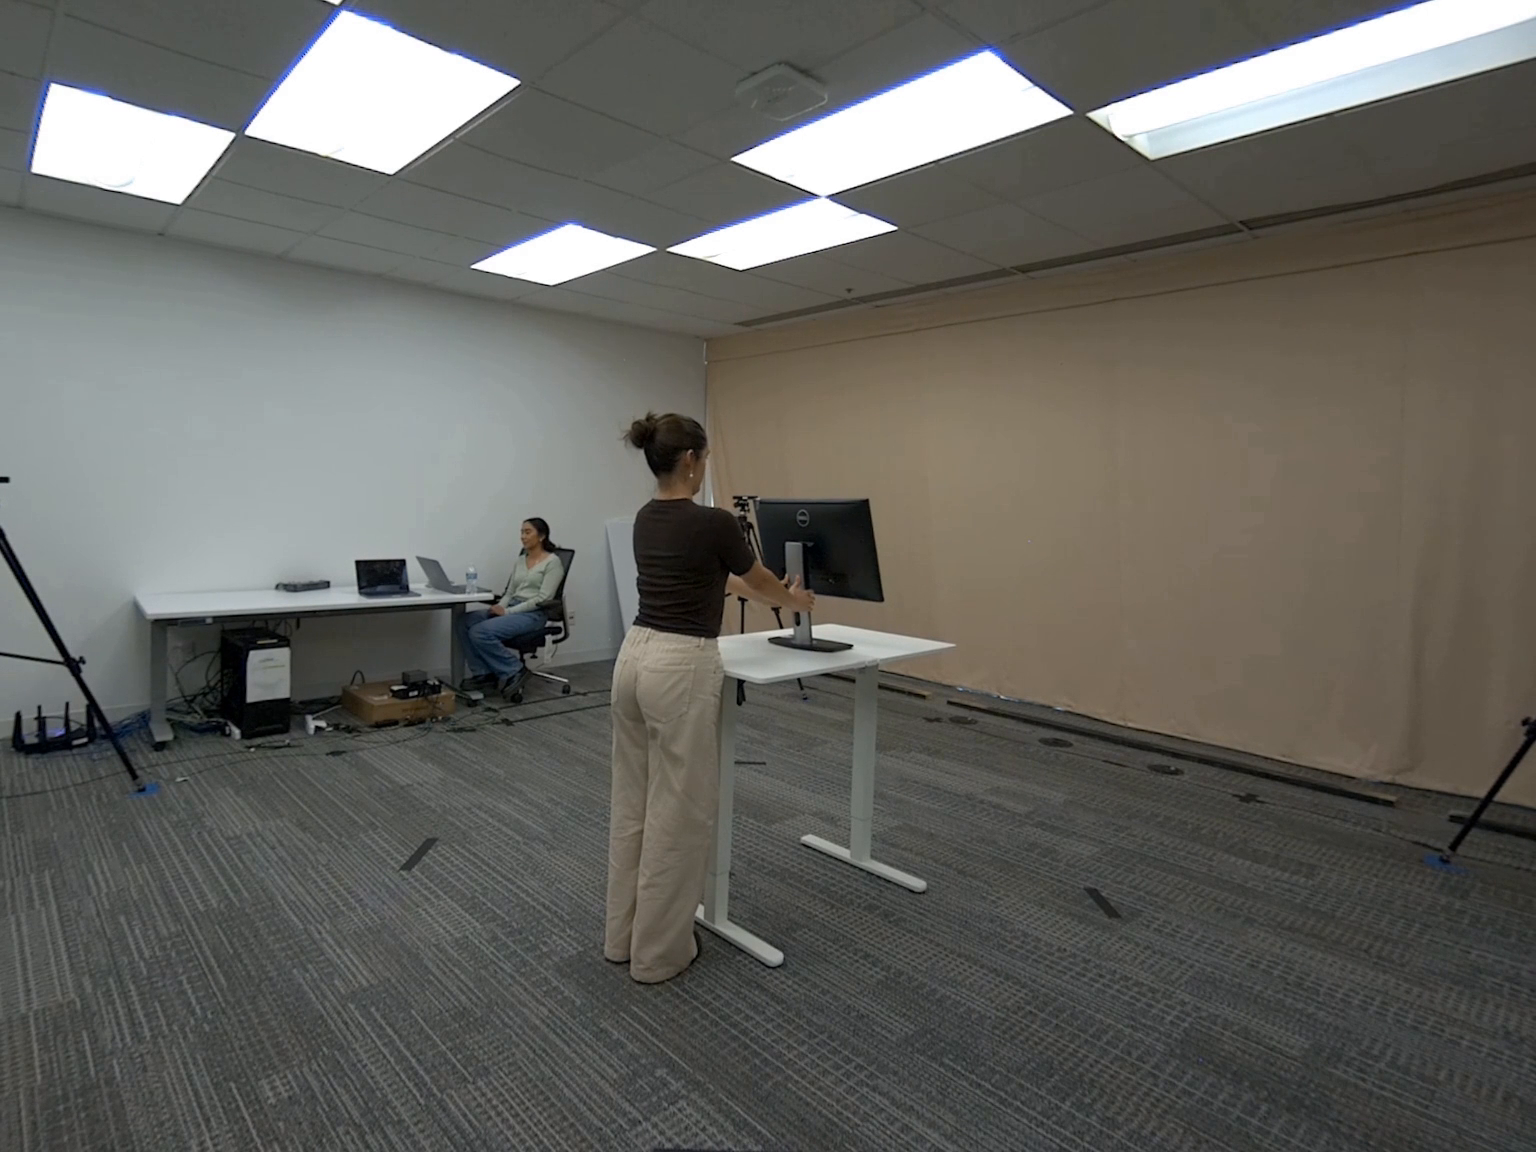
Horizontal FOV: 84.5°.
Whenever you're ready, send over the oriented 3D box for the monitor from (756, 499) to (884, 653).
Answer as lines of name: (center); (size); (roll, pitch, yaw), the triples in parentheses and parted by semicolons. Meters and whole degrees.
monitor: (0.131, -0.006, 2.913); (0.183, 0.521, 0.553); (-4, 6, -45)
